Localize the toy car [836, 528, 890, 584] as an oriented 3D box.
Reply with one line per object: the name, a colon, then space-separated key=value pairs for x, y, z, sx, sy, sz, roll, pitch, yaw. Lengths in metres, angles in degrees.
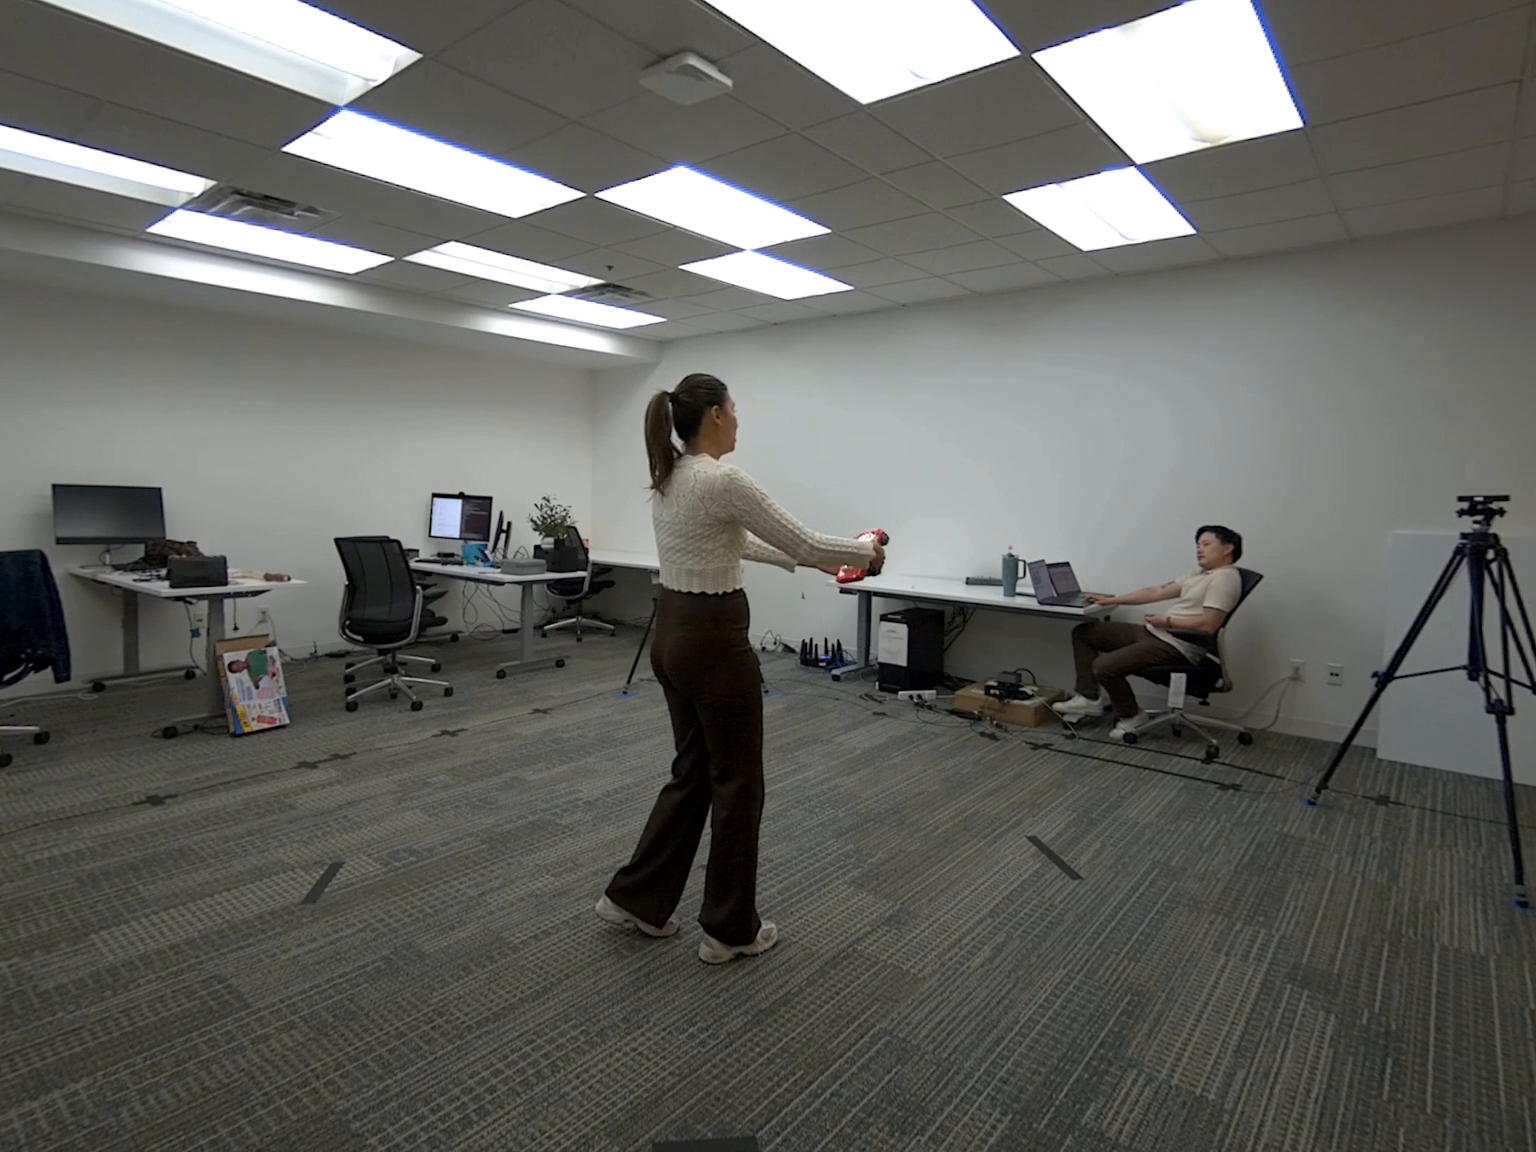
toy car: x=0.280 y=-0.056 z=2.699 sx=0.133 sy=0.081 sz=0.253 roll=-13 pitch=21 yaw=39
